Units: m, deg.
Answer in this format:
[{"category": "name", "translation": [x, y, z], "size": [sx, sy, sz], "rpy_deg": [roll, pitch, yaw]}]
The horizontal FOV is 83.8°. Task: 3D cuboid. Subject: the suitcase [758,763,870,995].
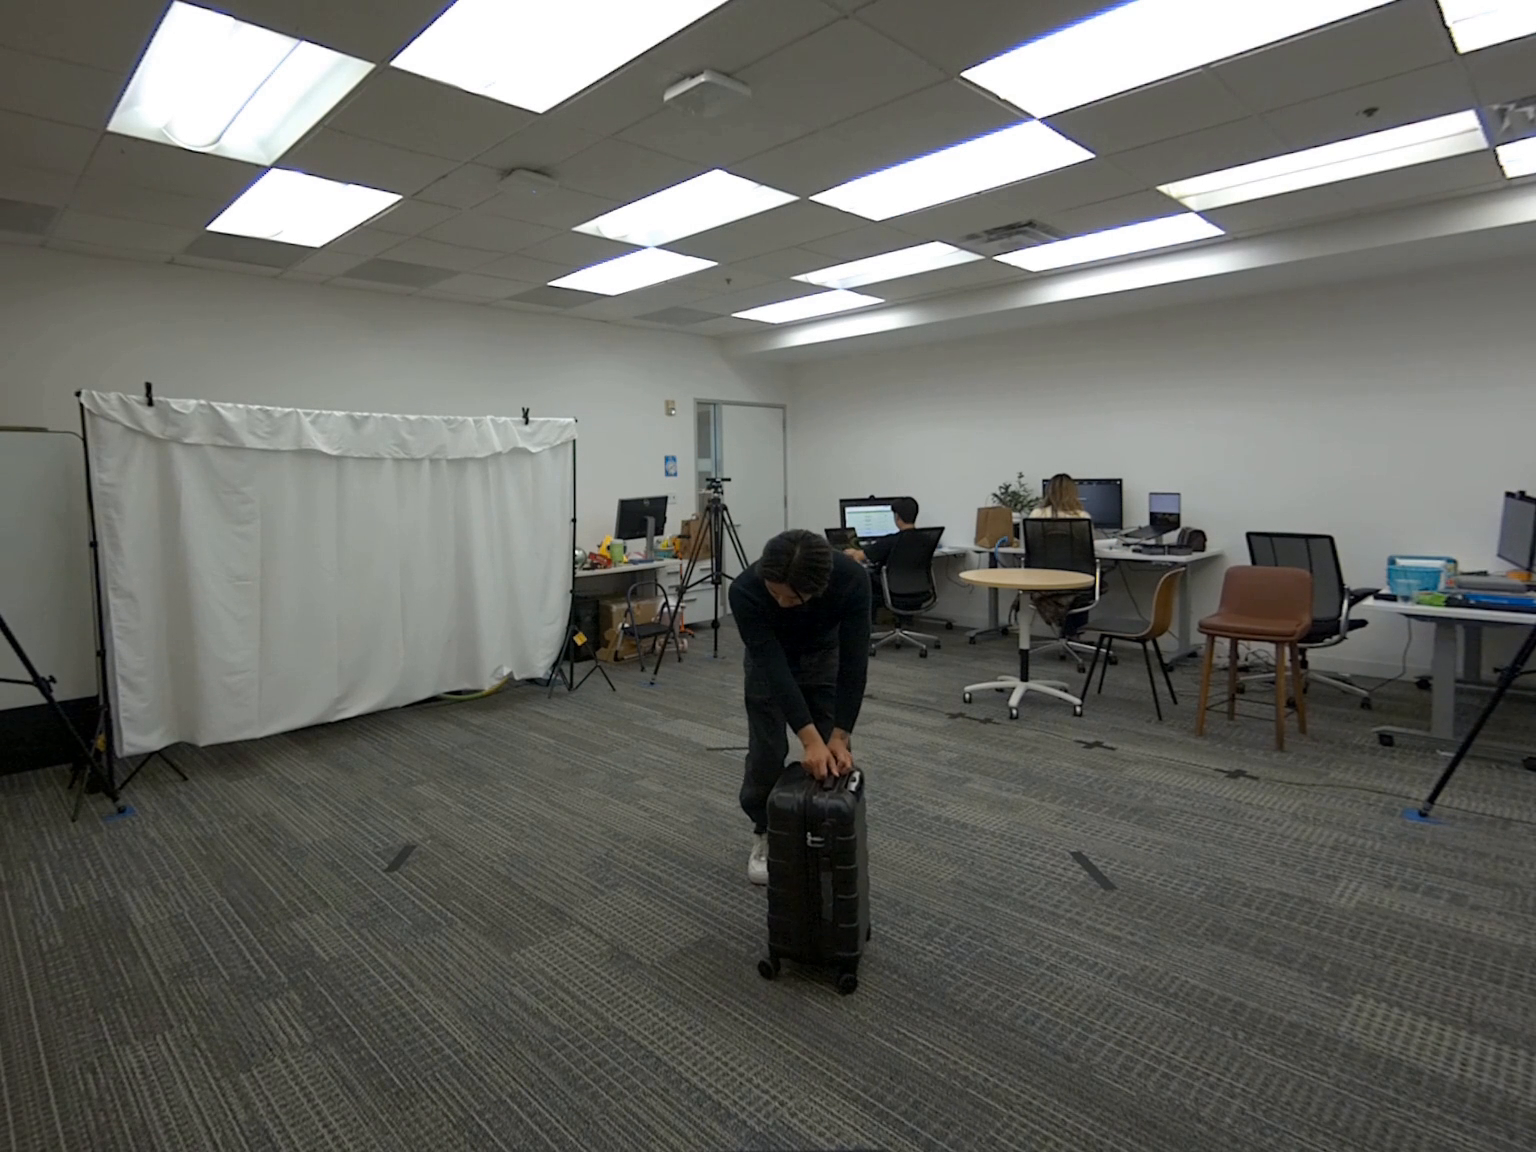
[{"category": "suitcase", "translation": [0.157, 0.839, 2.483], "size": [0.251, 0.548, 0.372], "rpy_deg": [-3, 4, 12]}]
